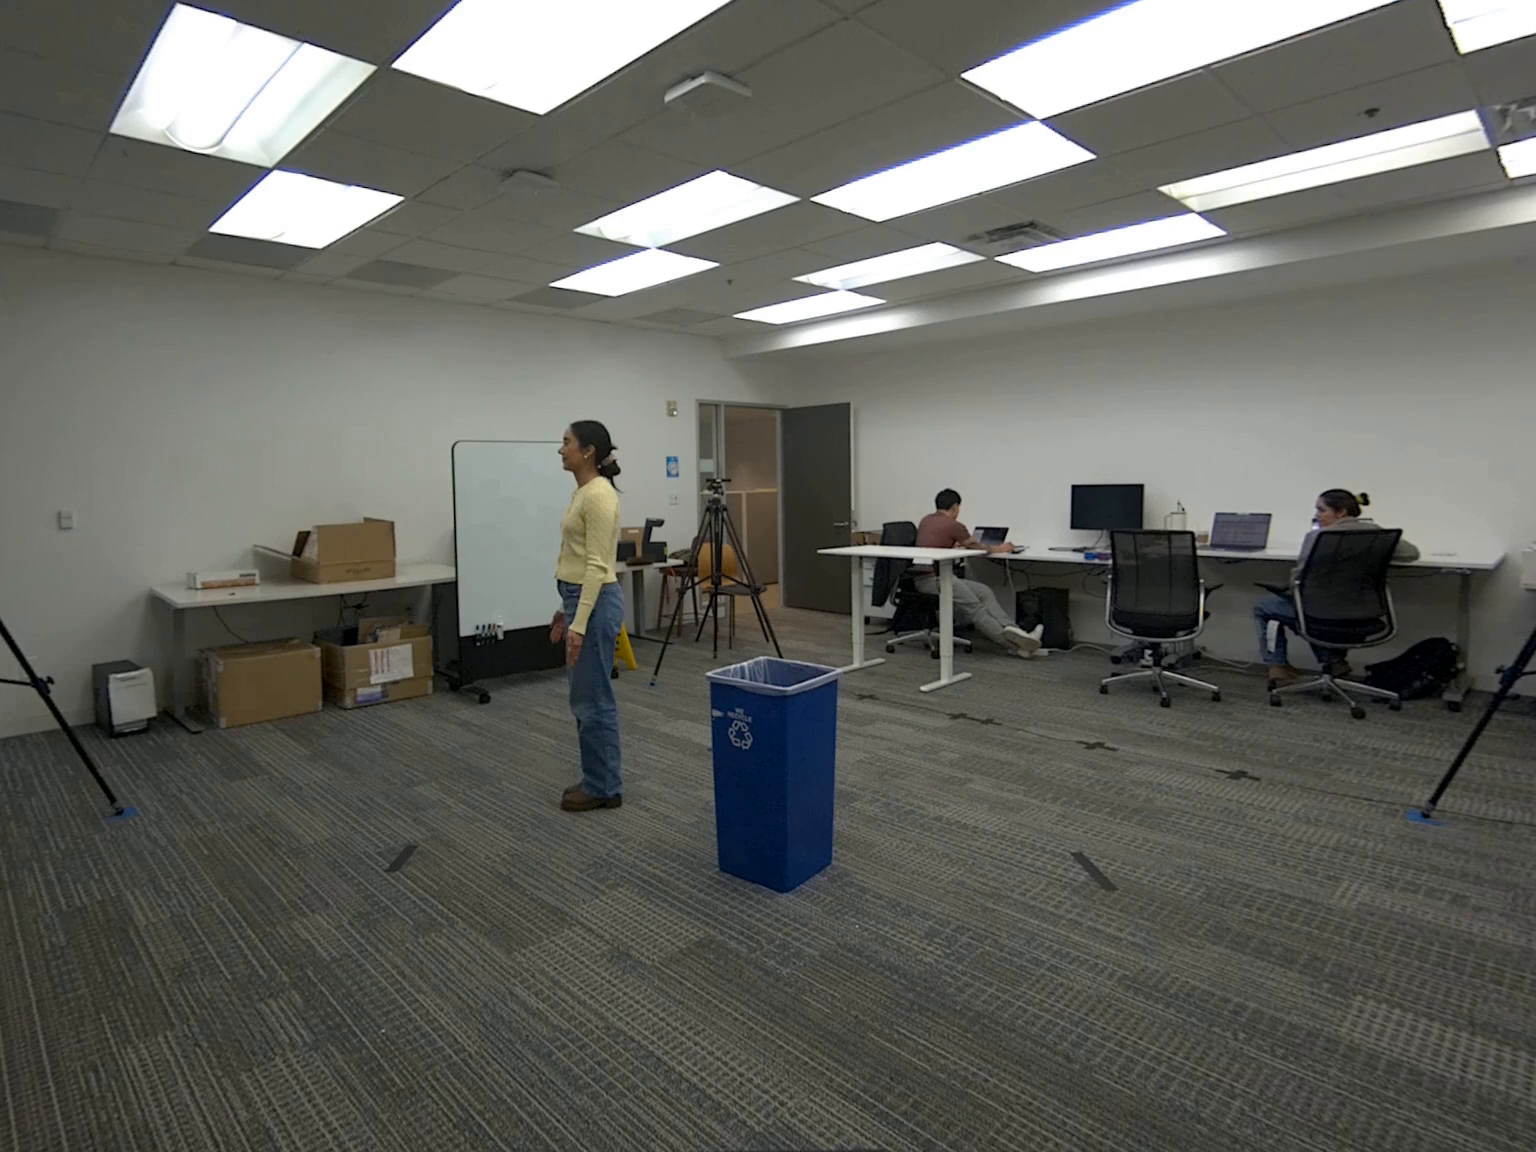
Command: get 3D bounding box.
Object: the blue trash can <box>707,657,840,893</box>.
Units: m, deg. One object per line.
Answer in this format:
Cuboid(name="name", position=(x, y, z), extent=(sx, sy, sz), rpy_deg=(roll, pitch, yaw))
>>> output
Cuboid(name="blue trash can", position=(0.033, 0.691, 3.052), extent=(0.385, 0.711, 0.368), rpy_deg=(2, 5, 38))
